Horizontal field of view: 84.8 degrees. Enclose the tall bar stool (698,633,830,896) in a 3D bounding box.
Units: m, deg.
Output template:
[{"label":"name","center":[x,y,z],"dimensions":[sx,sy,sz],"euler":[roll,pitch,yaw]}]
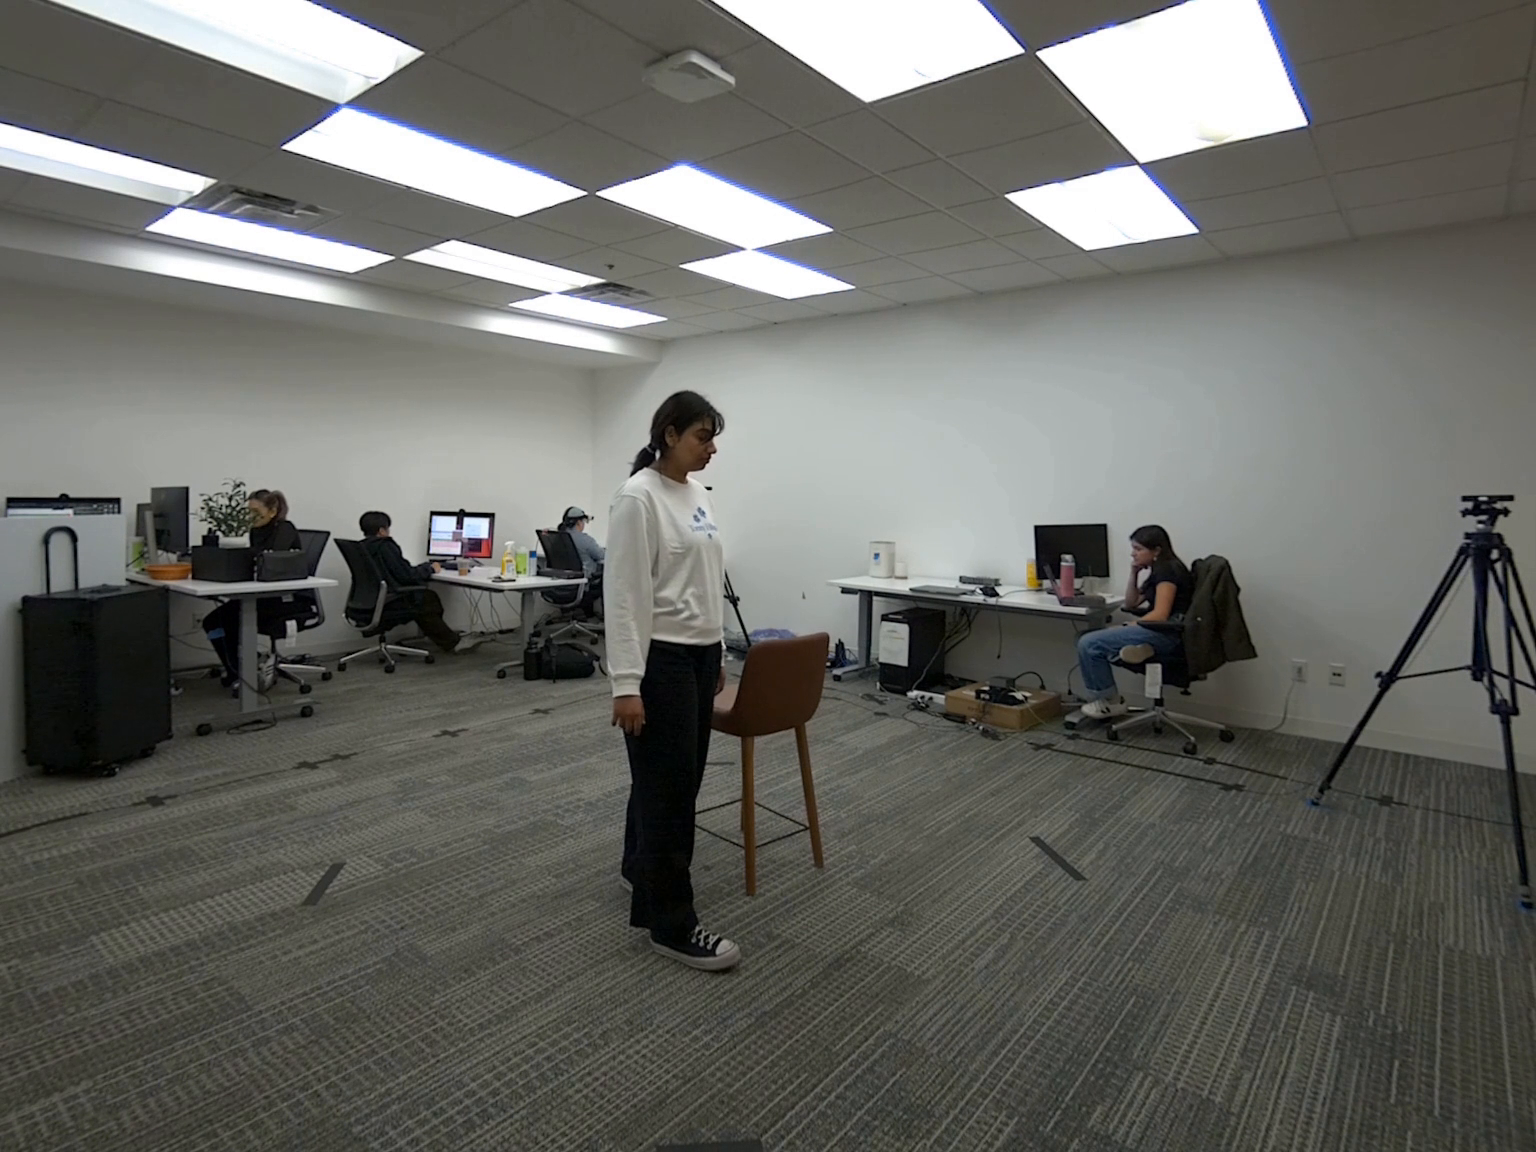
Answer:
[{"label":"tall bar stool","center":[-0.065,0.628,3.163],"dimensions":[0.442,0.886,0.484],"euler":[-2,6,-42]}]
